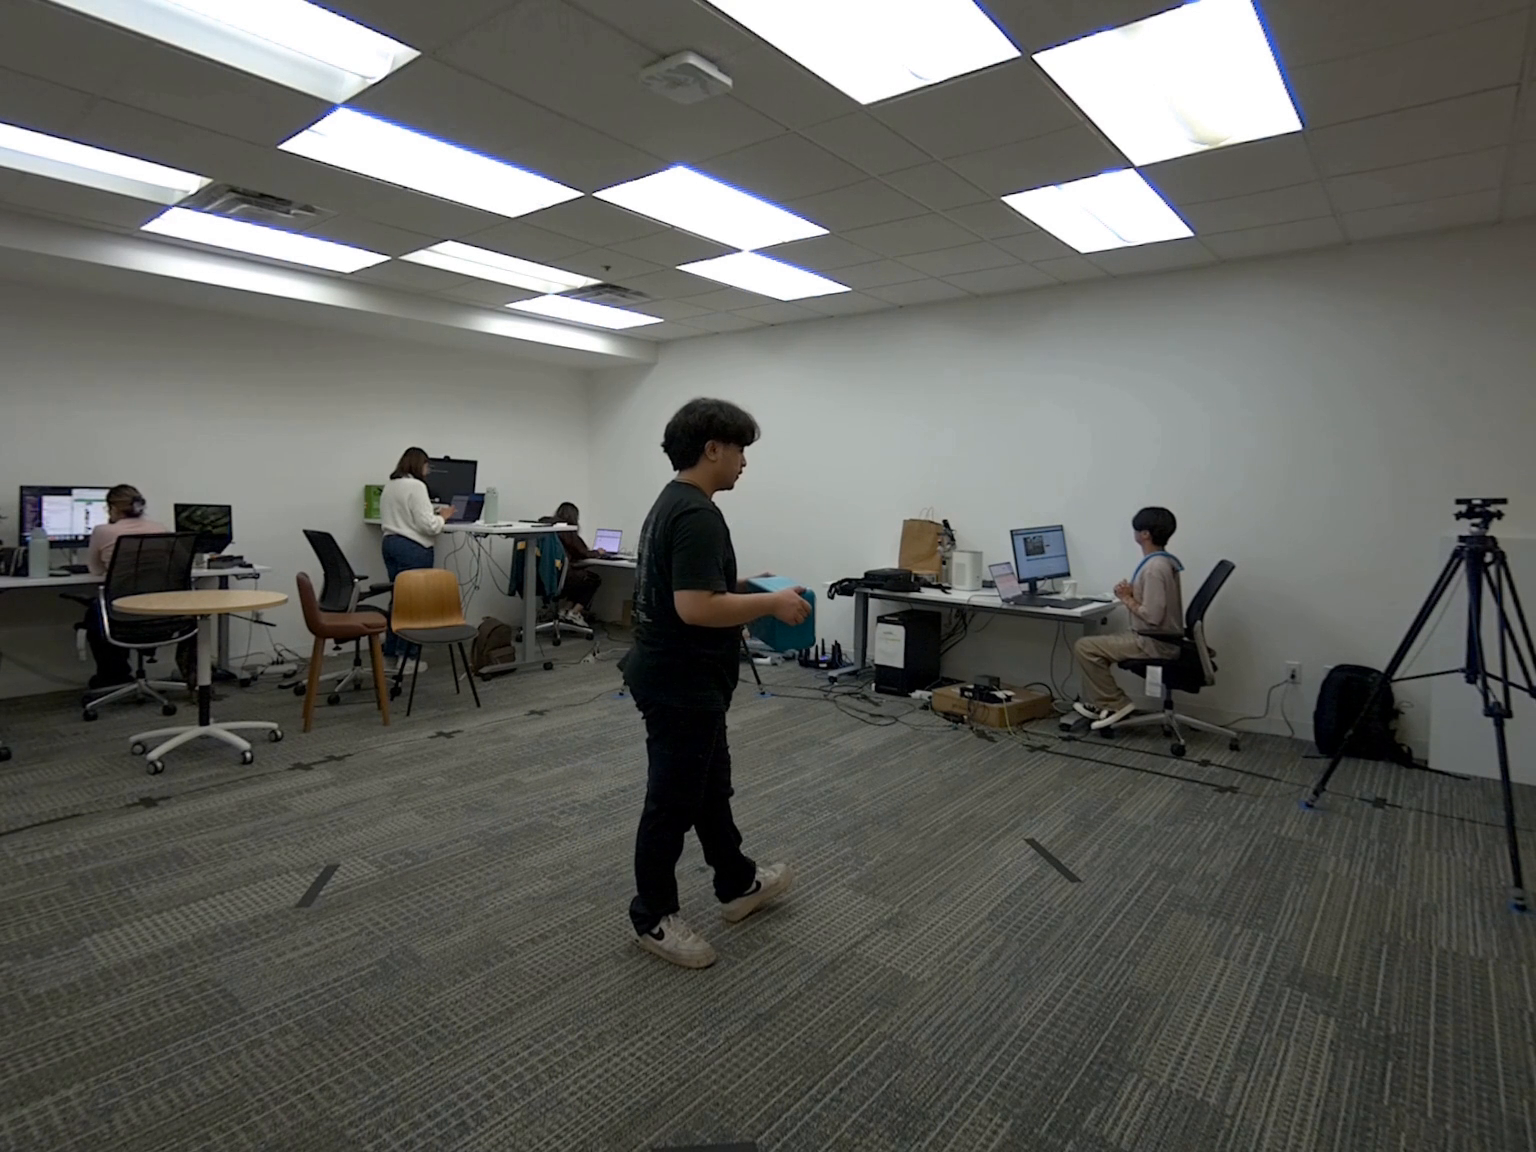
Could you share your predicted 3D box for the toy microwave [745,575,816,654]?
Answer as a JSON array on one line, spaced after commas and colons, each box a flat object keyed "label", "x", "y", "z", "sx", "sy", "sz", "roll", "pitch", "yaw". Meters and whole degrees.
[{"label": "toy microwave", "x": 0.030, "y": 0.111, "z": 2.599, "sx": 0.150, "sy": 0.182, "sz": 0.293, "roll": -4, "pitch": 10, "yaw": -18}]
